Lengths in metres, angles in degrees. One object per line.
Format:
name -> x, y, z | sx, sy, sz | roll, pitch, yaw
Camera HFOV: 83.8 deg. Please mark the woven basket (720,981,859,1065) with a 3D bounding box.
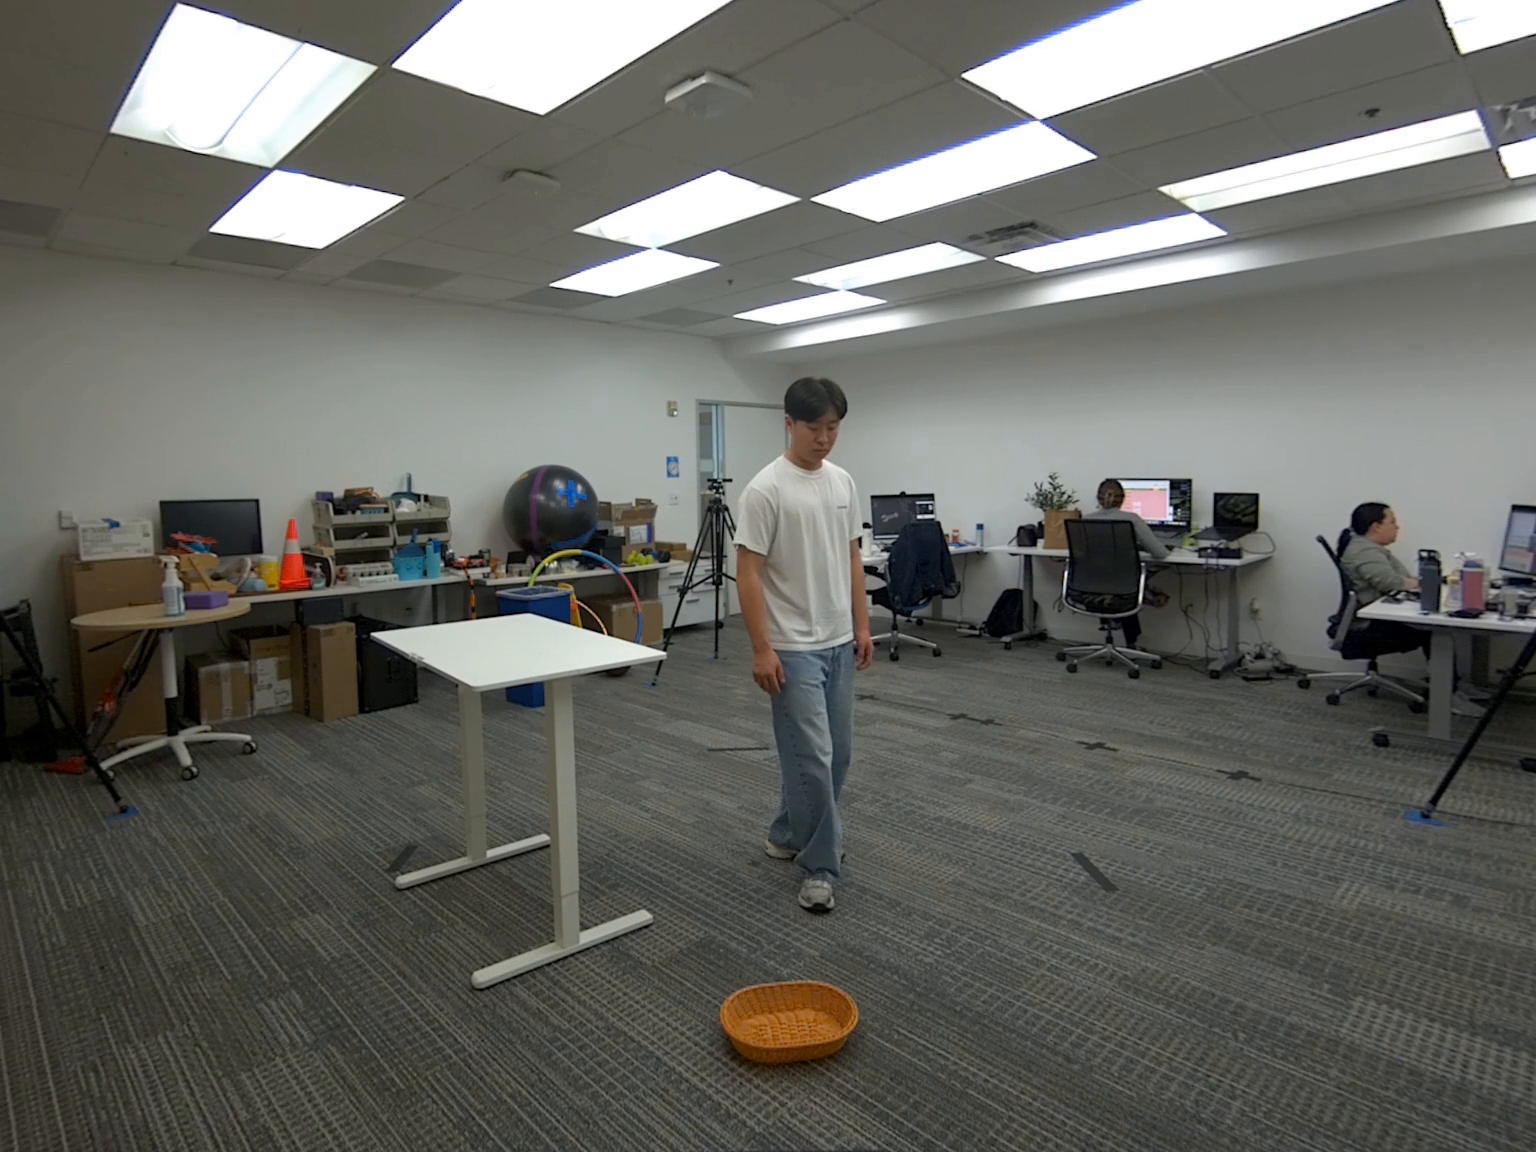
woven basket -> 0.059, 1.124, 2.134 | 0.349, 0.073, 0.255 | -2, 7, -6
